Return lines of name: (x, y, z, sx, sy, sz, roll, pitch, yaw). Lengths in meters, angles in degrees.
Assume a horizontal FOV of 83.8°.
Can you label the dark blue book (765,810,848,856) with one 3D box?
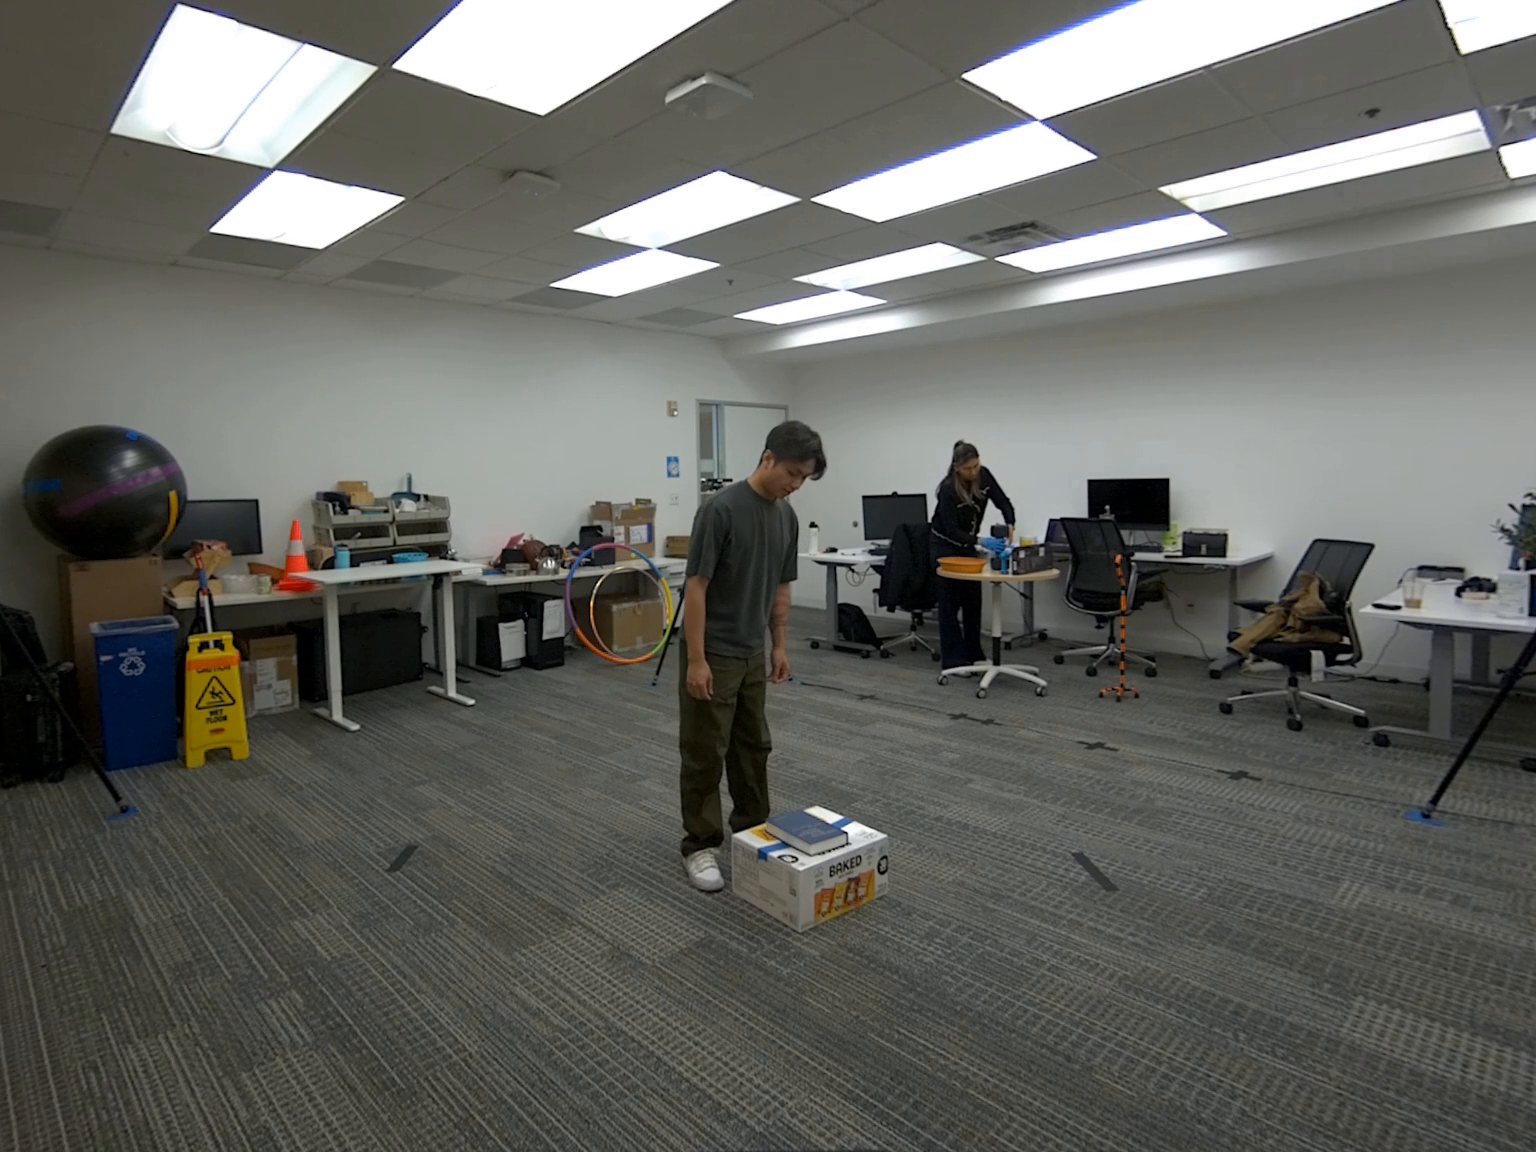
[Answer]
dark blue book: (0.132, 0.858, 2.846, 0.159, 0.045, 0.252, -6, 8, -36)
